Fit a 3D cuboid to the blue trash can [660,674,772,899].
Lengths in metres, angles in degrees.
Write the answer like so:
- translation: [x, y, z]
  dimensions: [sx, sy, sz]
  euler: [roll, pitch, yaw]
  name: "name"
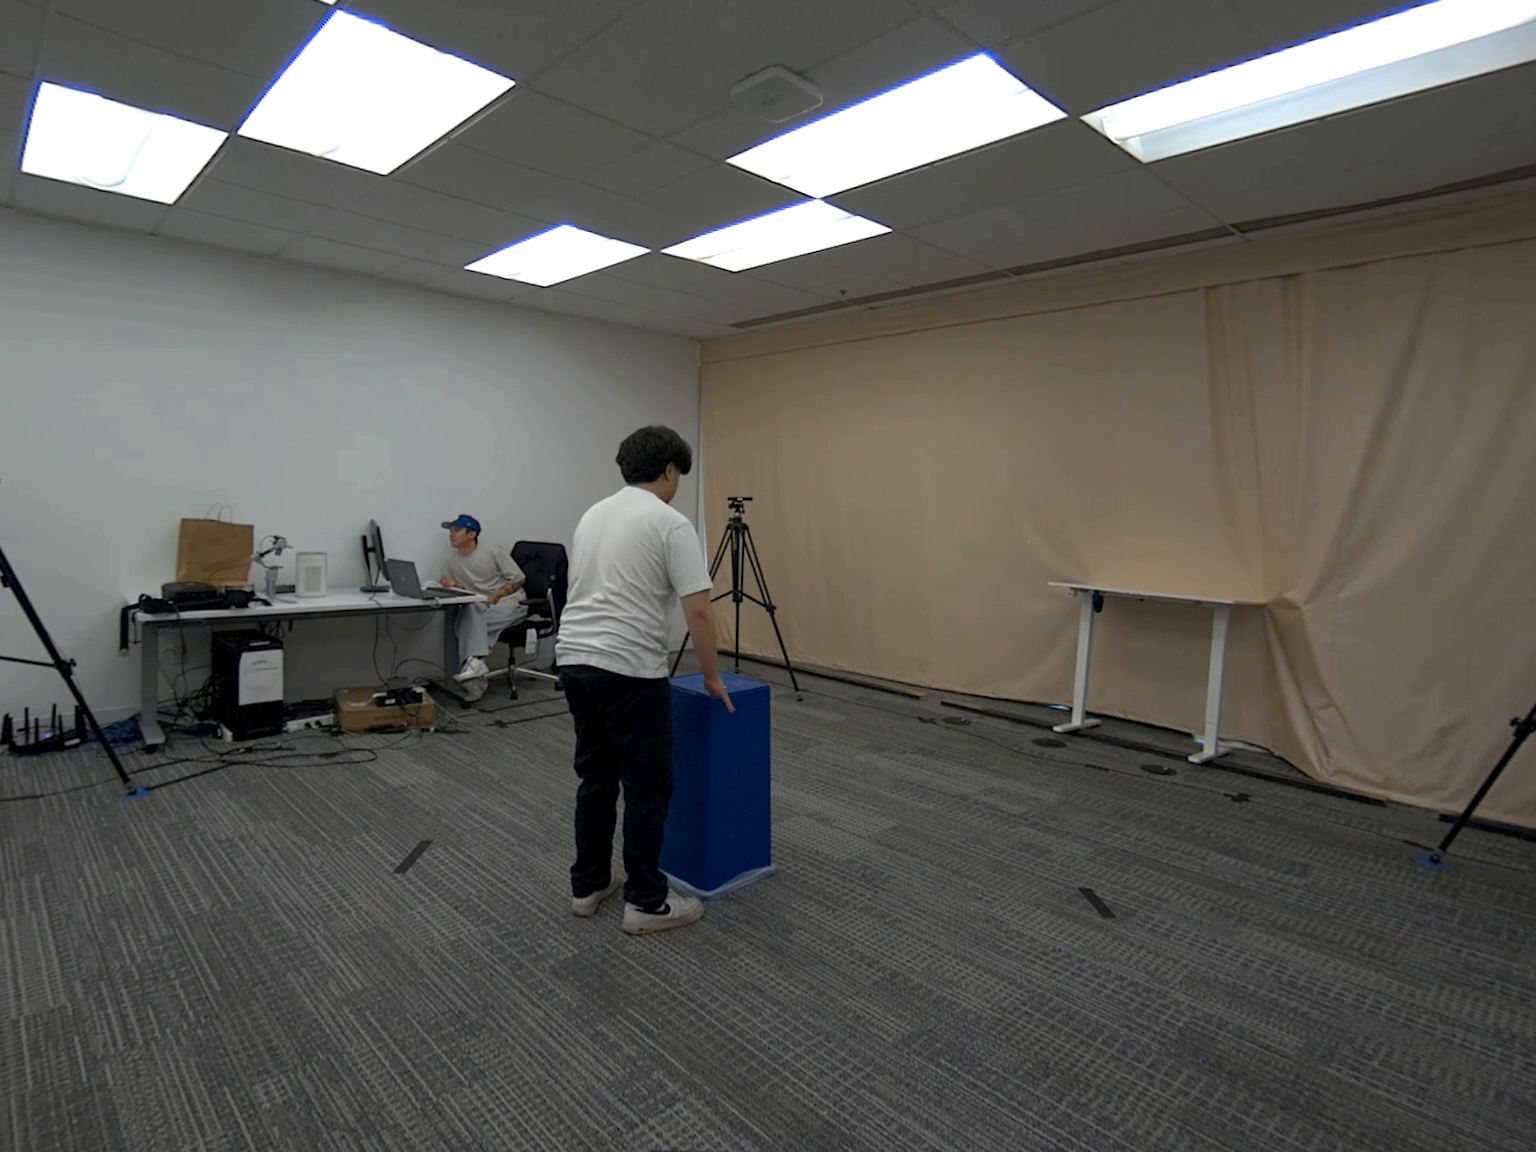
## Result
- translation: [-0.210, 0.749, 3.129]
  dimensions: [0.369, 0.711, 0.384]
  euler: [-2, 6, -45]
  name: "blue trash can"
